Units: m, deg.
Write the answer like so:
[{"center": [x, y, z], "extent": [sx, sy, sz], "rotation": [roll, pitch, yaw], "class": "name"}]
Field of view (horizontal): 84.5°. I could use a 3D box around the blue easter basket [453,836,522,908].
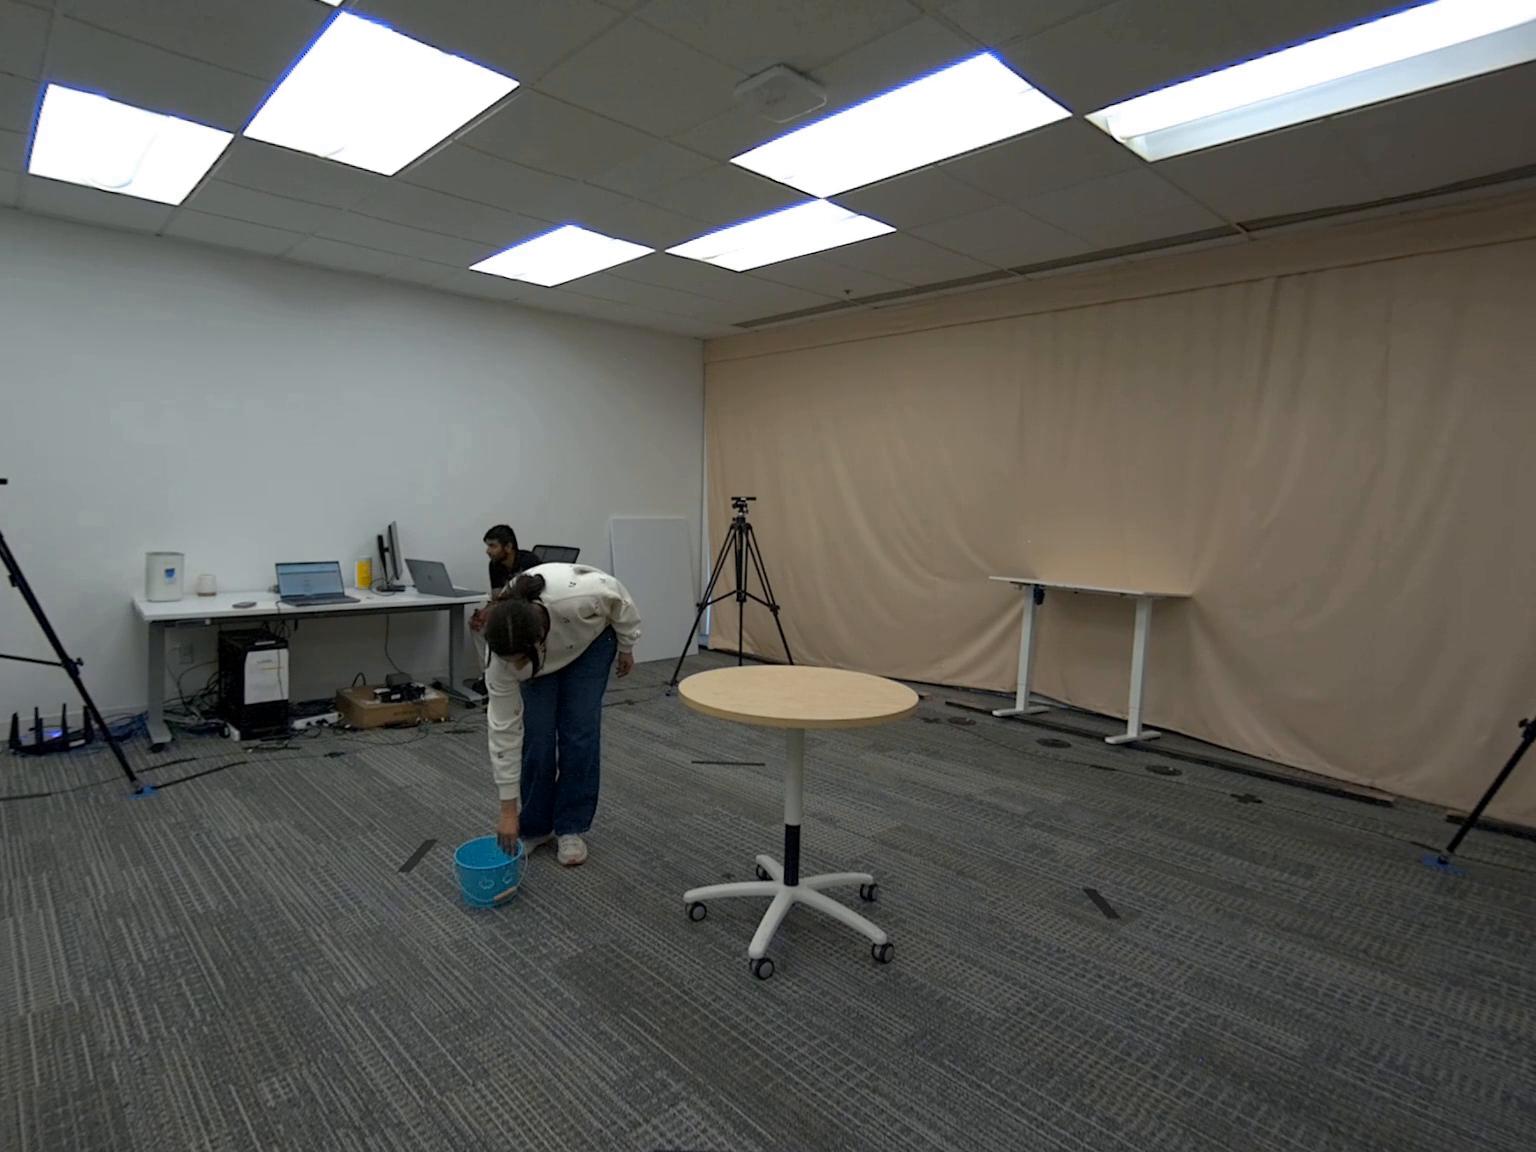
[{"center": [-0.986, 1.032, 2.904], "extent": [0.243, 0.155, 0.245], "rotation": [-1, 9, -1], "class": "blue easter basket"}]
